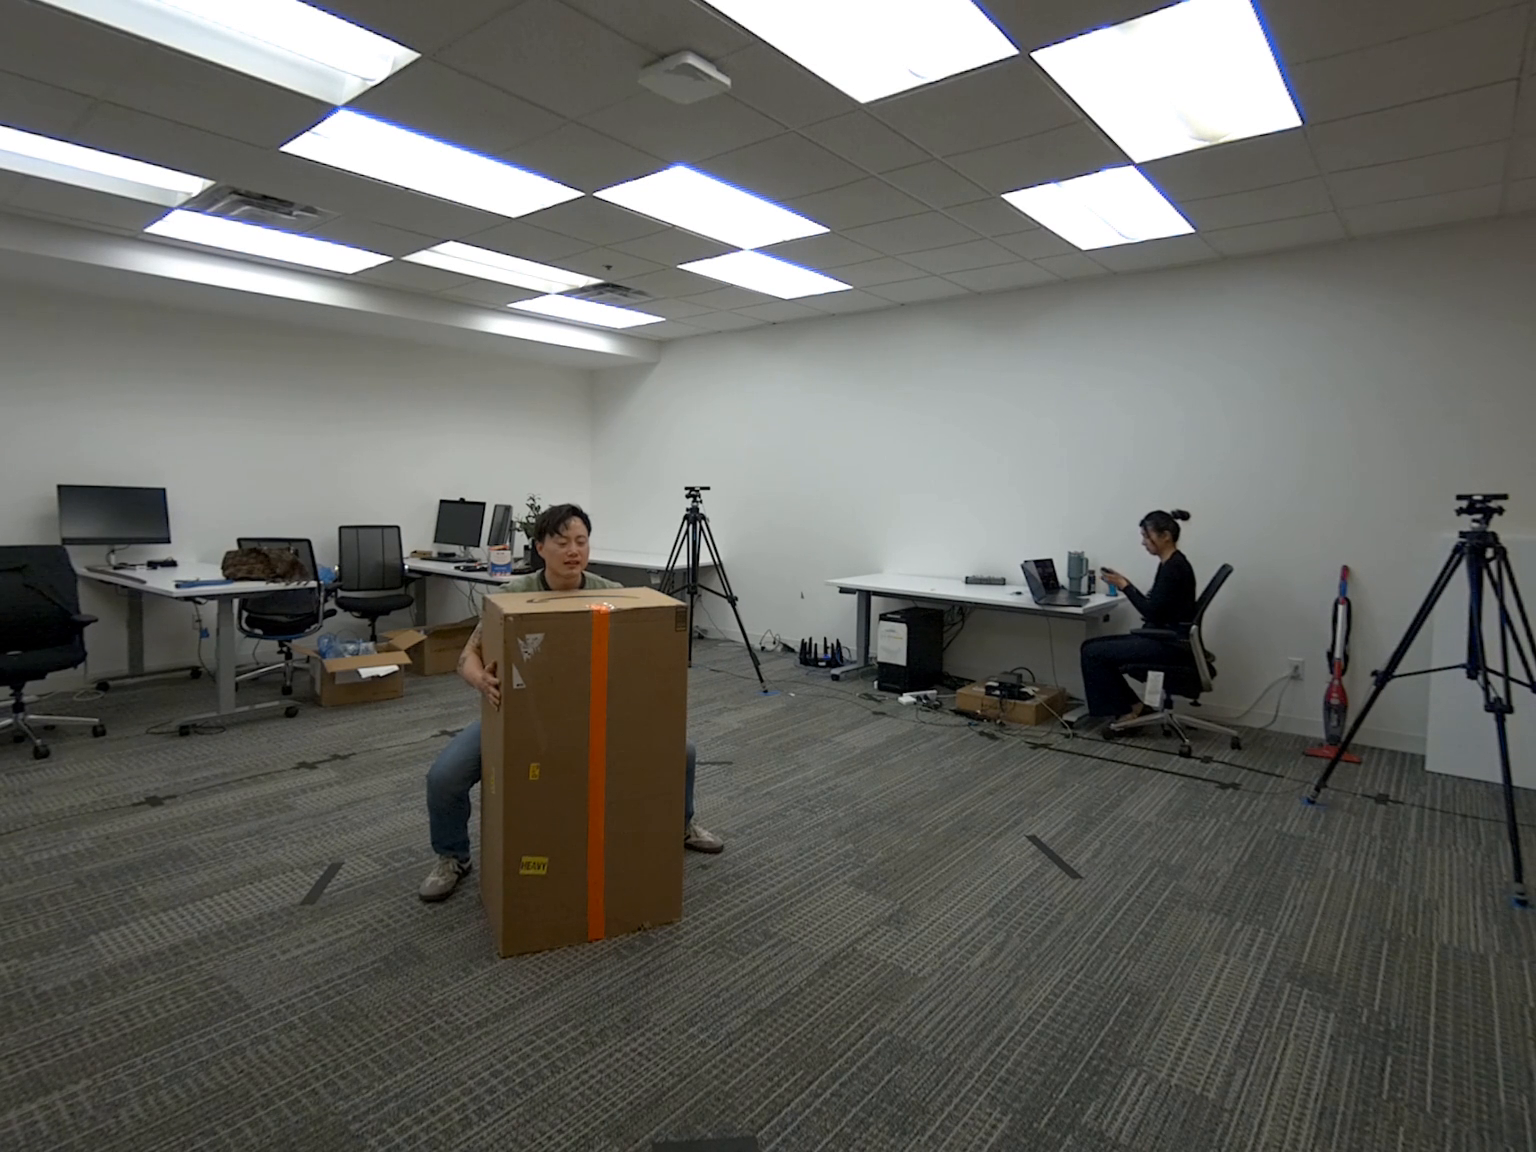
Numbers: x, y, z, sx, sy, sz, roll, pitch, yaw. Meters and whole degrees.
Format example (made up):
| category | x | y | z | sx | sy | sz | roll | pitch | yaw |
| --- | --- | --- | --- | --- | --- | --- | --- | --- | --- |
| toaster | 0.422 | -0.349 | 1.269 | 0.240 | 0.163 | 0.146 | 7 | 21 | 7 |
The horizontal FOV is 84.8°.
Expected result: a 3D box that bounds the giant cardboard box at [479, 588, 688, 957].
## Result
| category | x | y | z | sx | sy | sz | roll | pitch | yaw |
| --- | --- | --- | --- | --- | --- | --- | --- | --- | --- |
| giant cardboard box | -0.616 | 0.582 | 2.757 | 0.564 | 1.022 | 0.438 | -1 | 5 | -26 |
